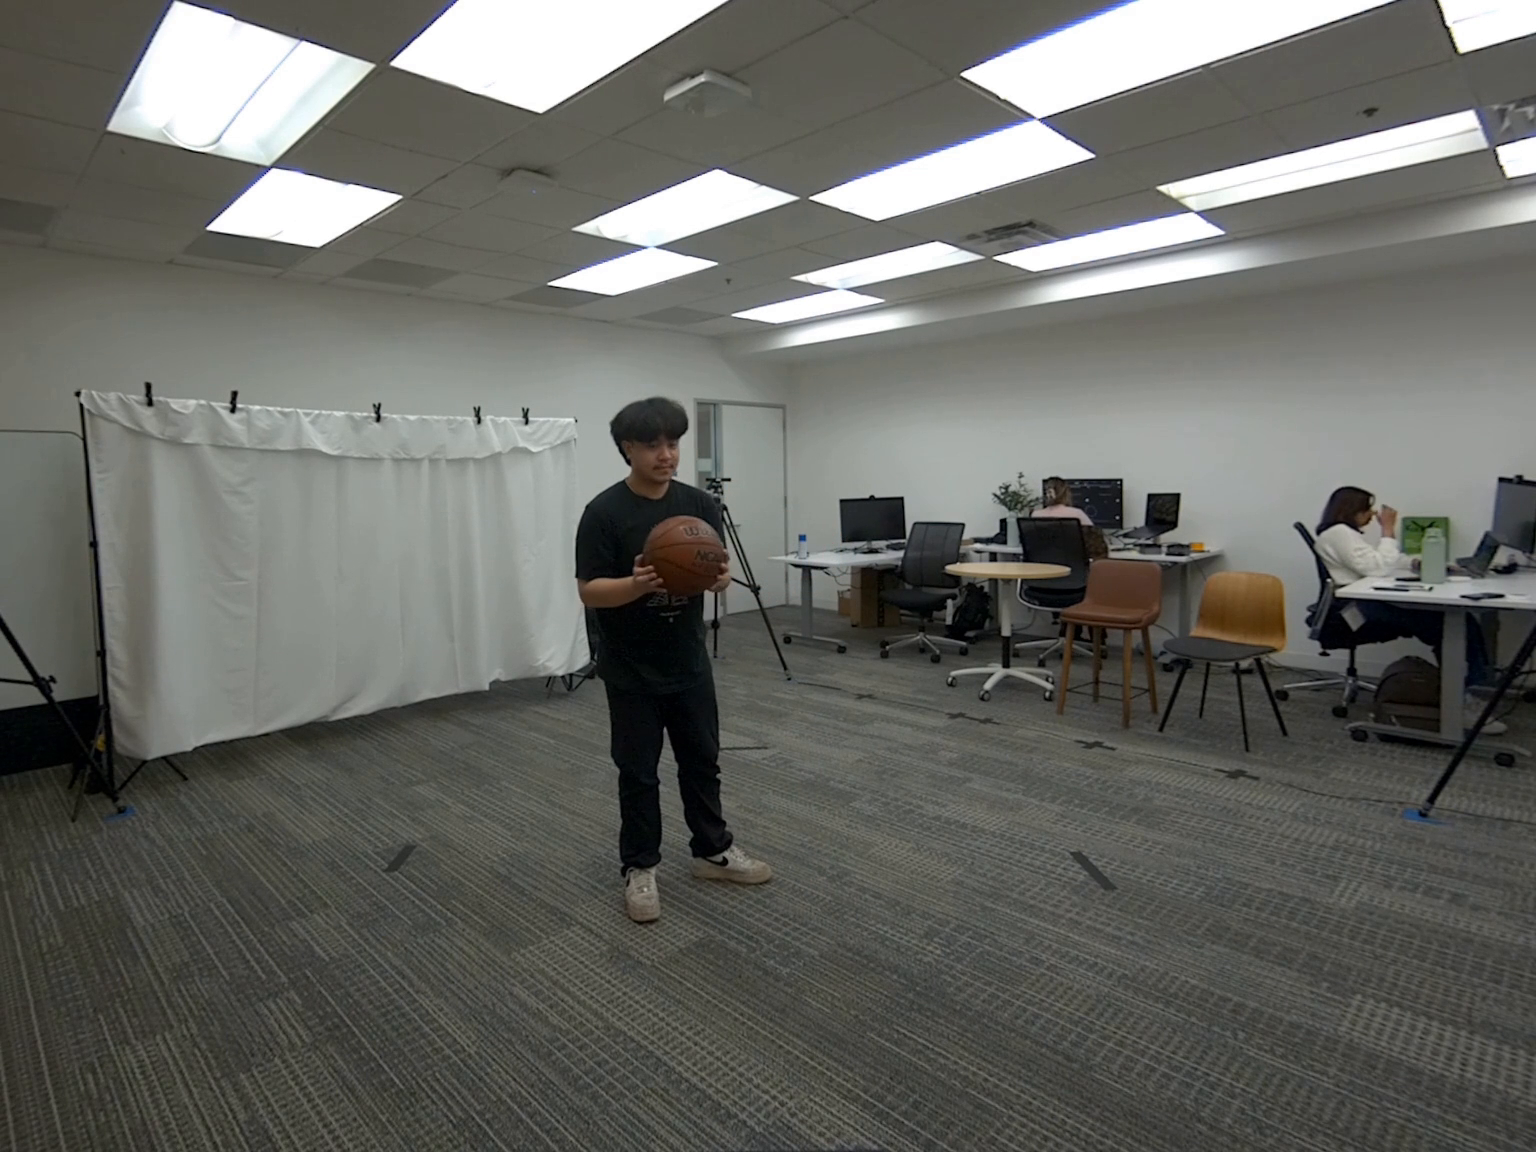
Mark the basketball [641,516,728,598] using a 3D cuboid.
[{"bbox_3d":[-0.245,-0.058,2.518,0.236,0.235,0.237,-1,5,-2],"label":"basketball"}]
